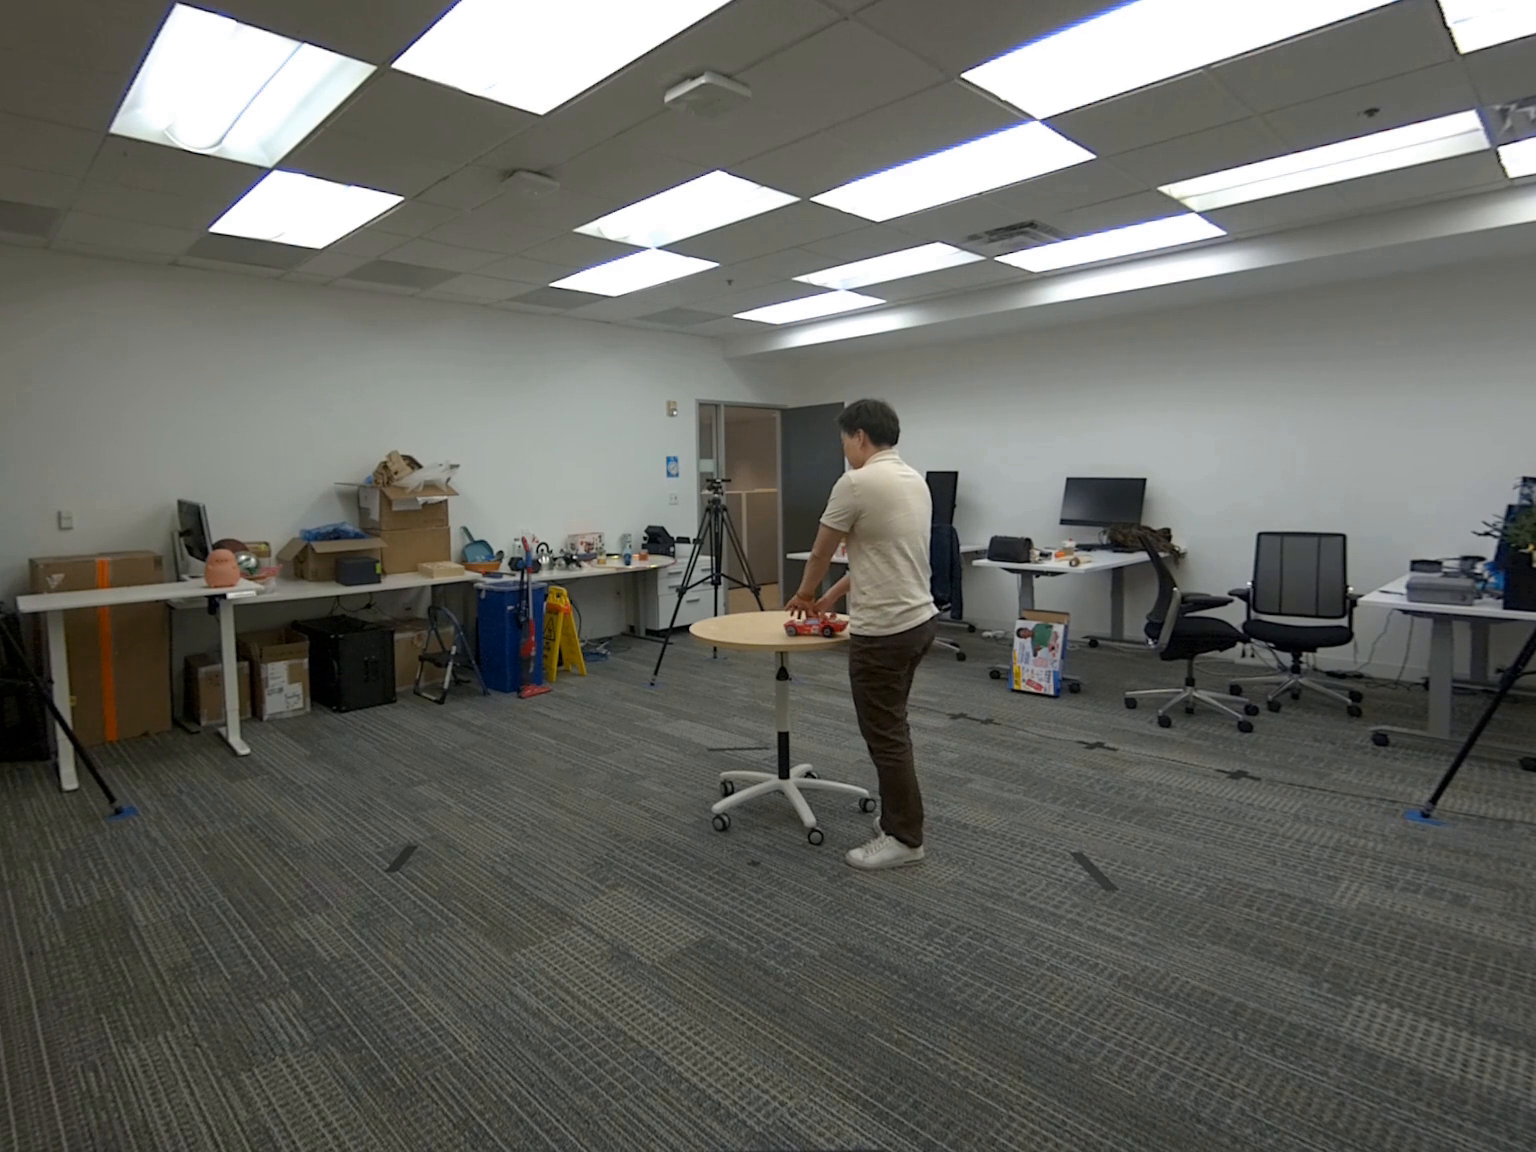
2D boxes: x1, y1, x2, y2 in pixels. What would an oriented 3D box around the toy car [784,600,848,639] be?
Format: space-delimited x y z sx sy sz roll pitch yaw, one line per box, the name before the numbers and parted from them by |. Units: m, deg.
toy car | 0.200 0.200 3.329 0.258 0.083 0.128 -11 3 19
